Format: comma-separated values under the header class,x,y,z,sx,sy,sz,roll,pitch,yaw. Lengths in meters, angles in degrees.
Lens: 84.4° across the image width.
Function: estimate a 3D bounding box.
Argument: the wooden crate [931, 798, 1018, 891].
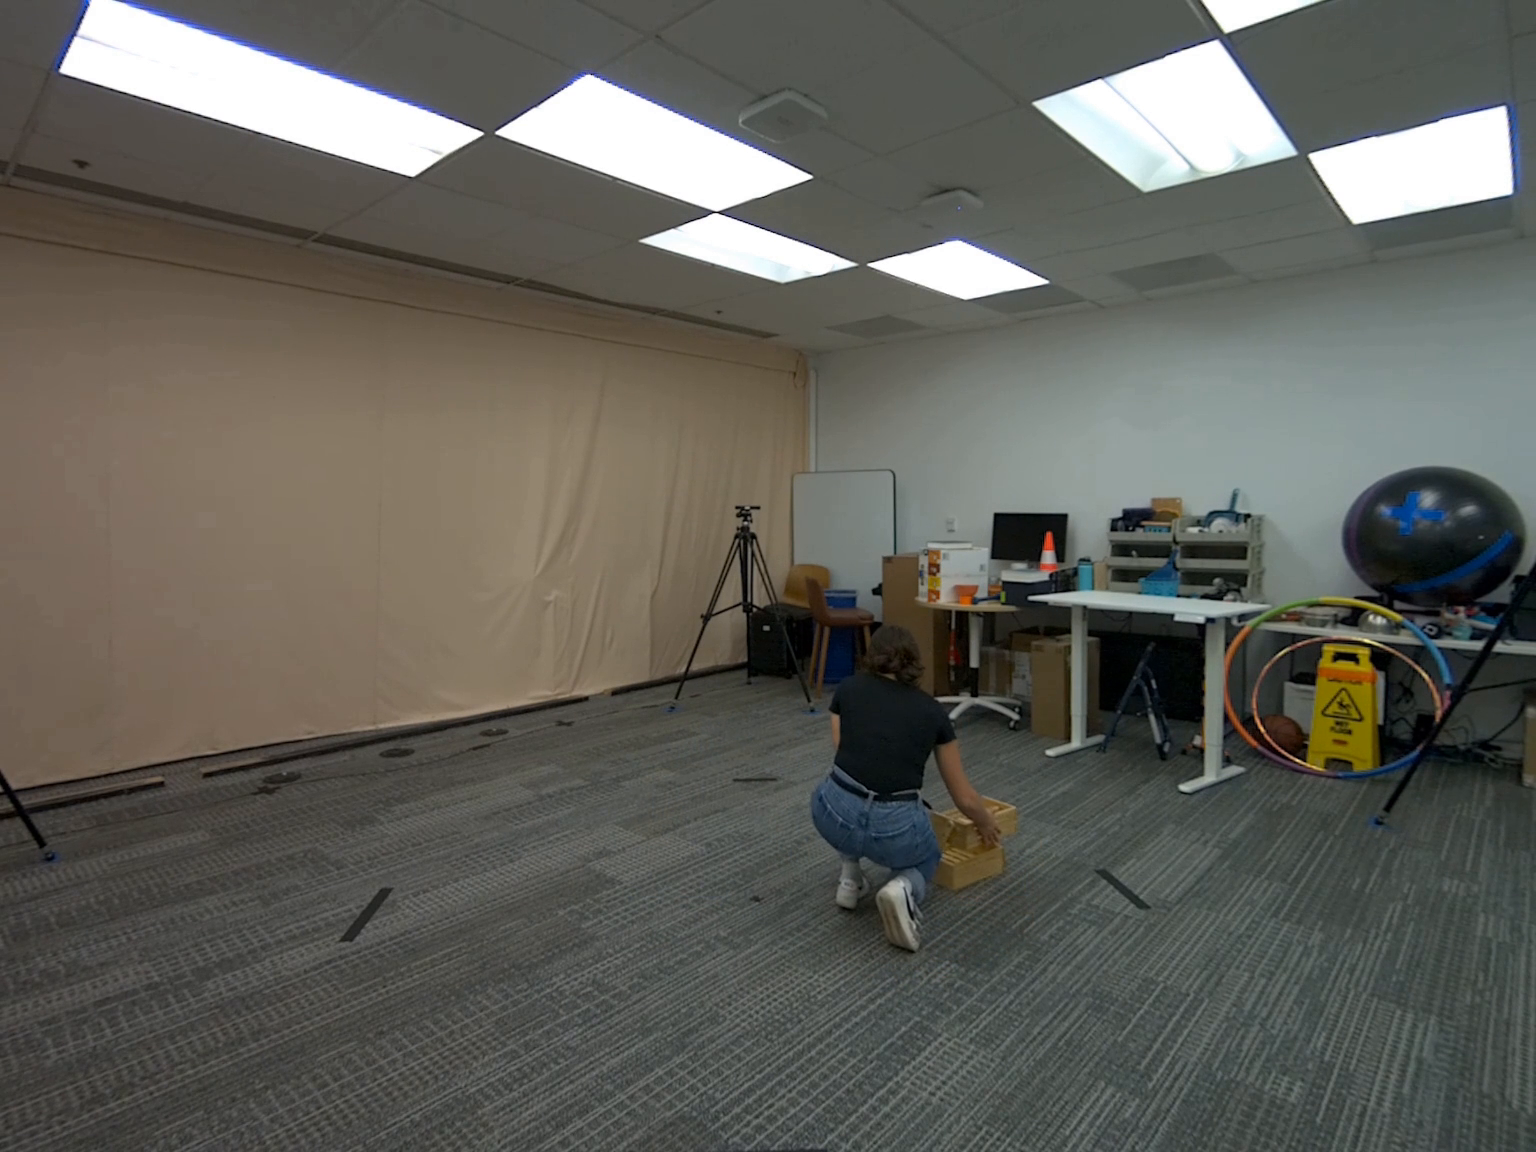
class,x,y,z,sx,sy,sz,roll,pitch,yaw
wooden crate,0.719,0.988,3.196,0.315,0.273,0.312,-3,5,-38
